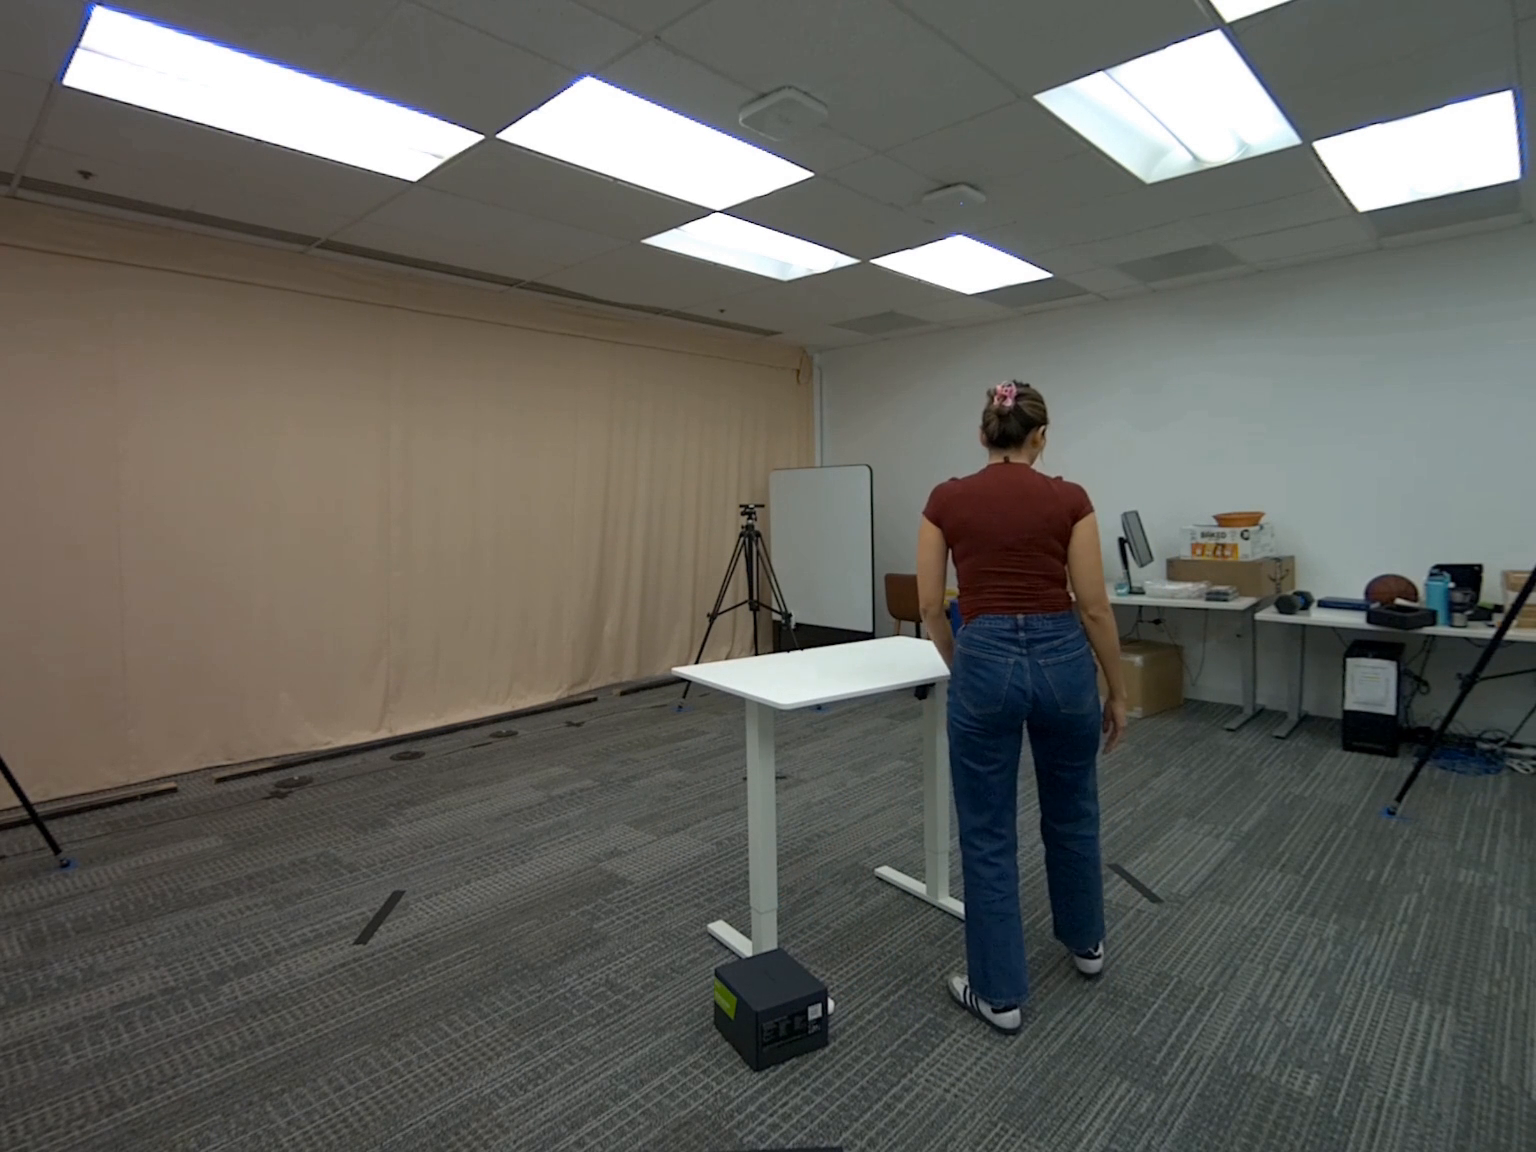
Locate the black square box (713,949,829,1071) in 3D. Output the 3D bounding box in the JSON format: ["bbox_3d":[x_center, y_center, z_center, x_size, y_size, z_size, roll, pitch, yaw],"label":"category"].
[{"bbox_3d":[0.006,1.126,2.206,0.211,0.155,0.234,-4,5,-30],"label":"black square box"}]
